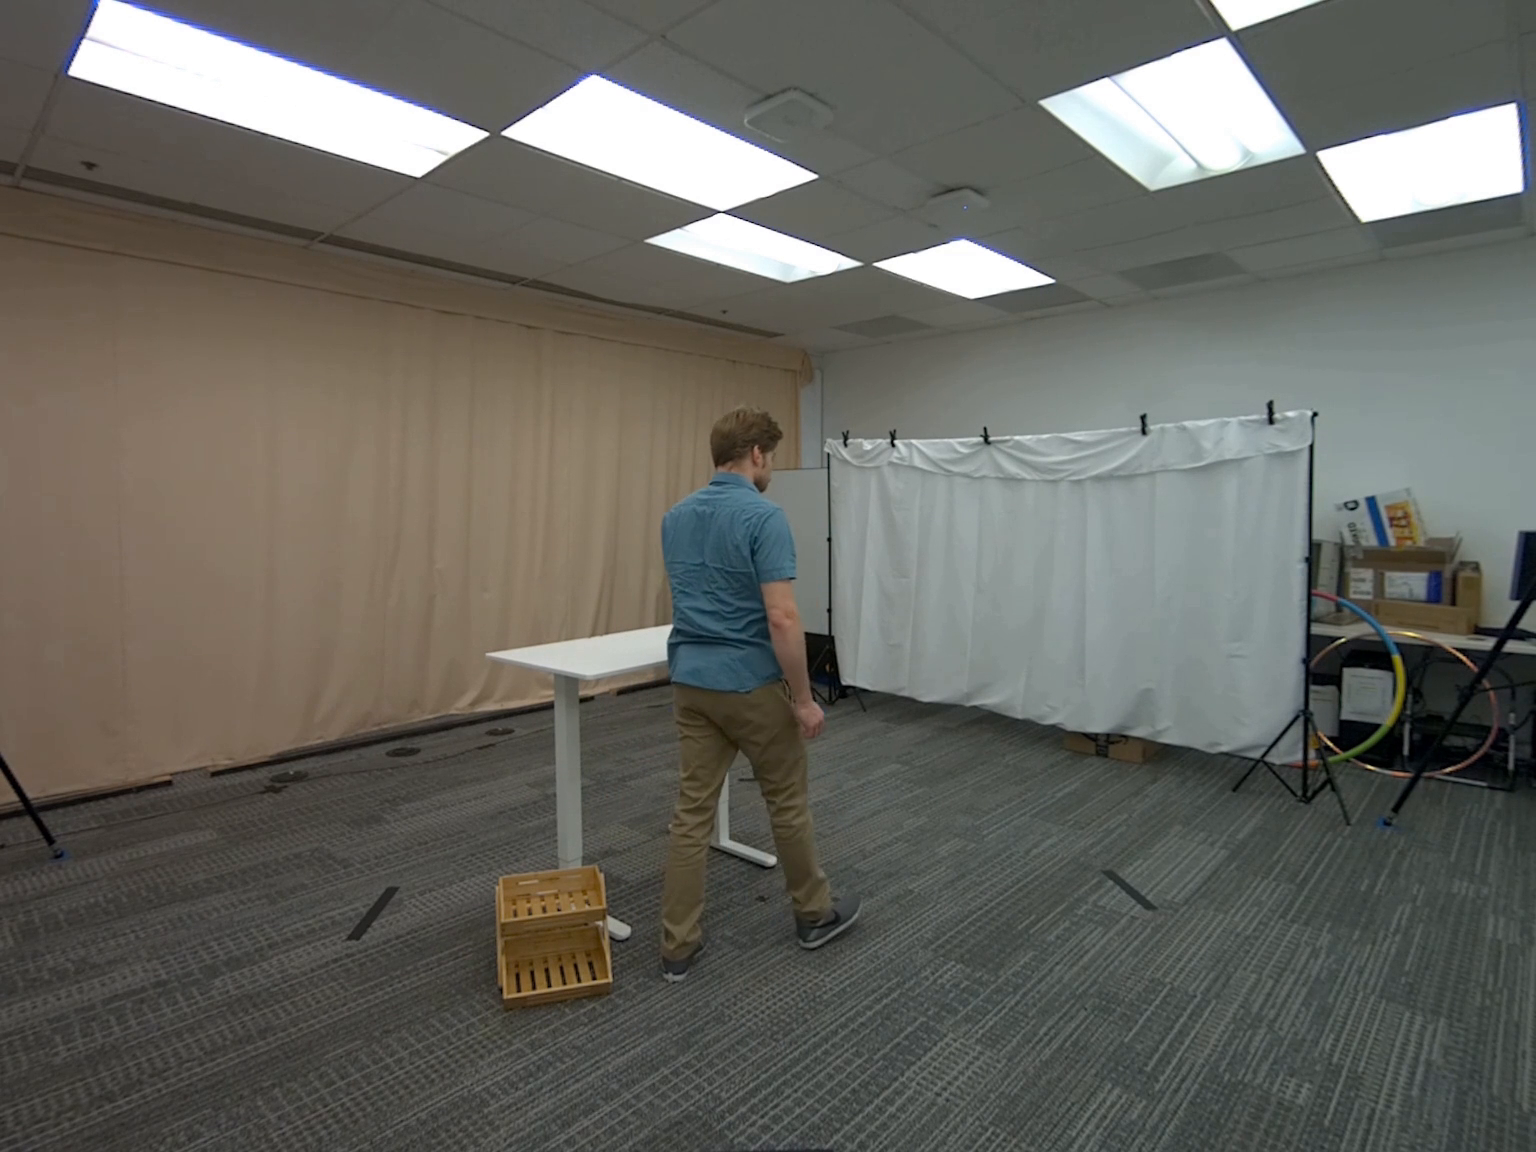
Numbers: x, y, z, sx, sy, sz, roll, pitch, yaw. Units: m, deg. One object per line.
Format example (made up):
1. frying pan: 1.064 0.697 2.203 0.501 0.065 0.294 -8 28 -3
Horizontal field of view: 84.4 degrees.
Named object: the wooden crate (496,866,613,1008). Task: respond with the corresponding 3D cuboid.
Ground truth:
1. wooden crate: -0.633 1.059 2.480 0.318 0.273 0.308 -1 3 -19
